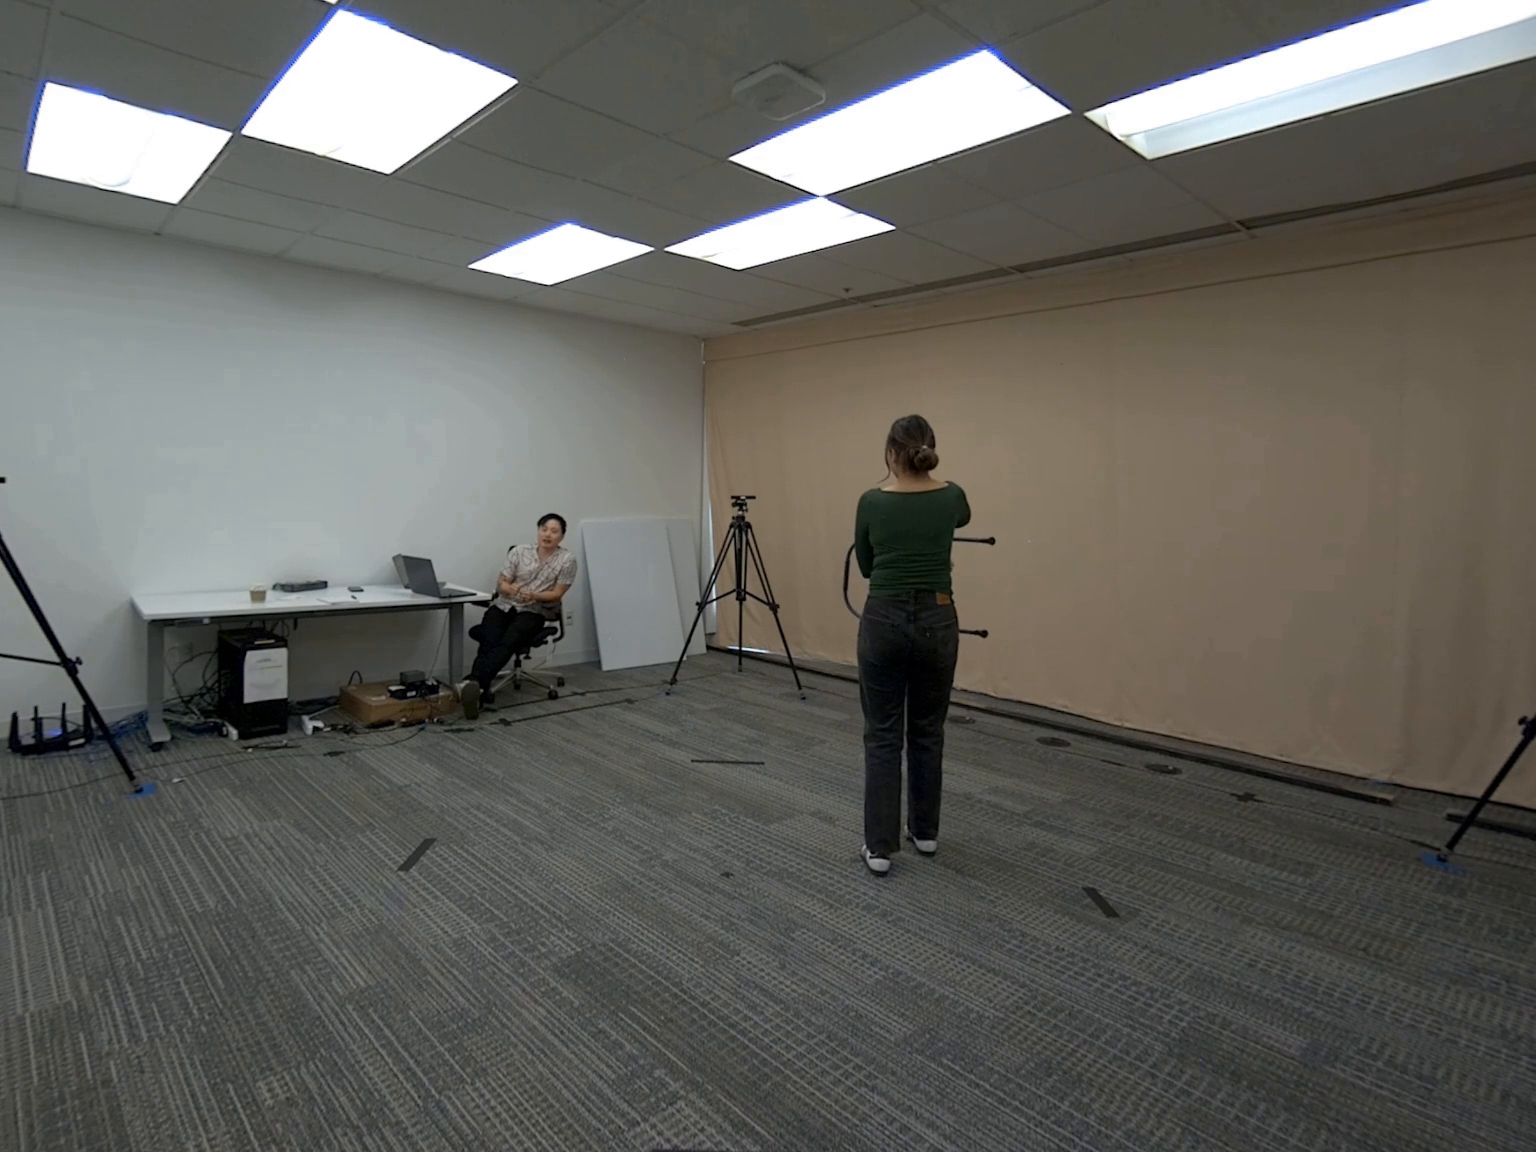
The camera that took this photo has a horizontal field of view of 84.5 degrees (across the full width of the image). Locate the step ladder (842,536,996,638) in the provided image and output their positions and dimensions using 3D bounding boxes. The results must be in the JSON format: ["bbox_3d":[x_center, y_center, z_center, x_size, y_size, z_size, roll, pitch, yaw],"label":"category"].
[{"bbox_3d":[0.624,0.024,3.701,0.340,0.431,0.621,7,-2,-41],"label":"step ladder"}]
